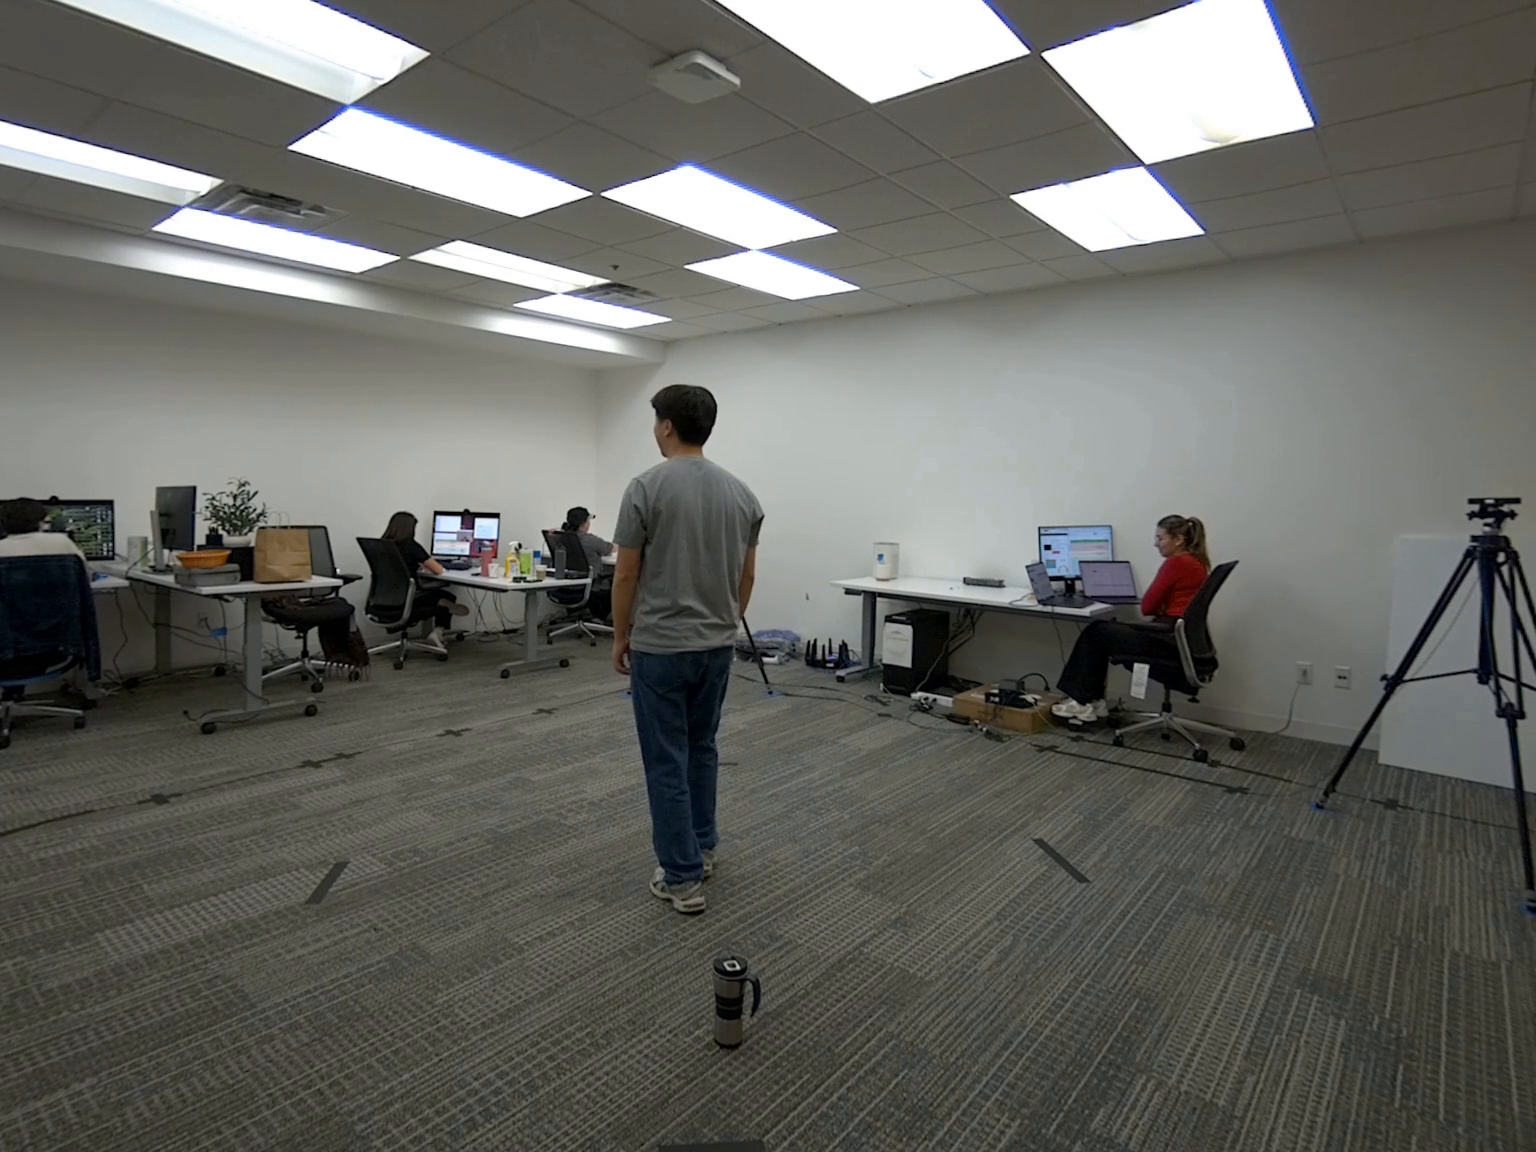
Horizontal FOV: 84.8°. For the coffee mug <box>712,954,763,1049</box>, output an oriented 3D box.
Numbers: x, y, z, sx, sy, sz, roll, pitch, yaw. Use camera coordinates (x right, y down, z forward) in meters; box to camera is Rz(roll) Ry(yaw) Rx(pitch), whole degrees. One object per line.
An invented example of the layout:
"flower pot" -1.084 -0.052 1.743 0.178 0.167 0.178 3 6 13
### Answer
"coffee mug" -0.087 1.068 2.120 0.125 0.203 0.085 1 1 30
